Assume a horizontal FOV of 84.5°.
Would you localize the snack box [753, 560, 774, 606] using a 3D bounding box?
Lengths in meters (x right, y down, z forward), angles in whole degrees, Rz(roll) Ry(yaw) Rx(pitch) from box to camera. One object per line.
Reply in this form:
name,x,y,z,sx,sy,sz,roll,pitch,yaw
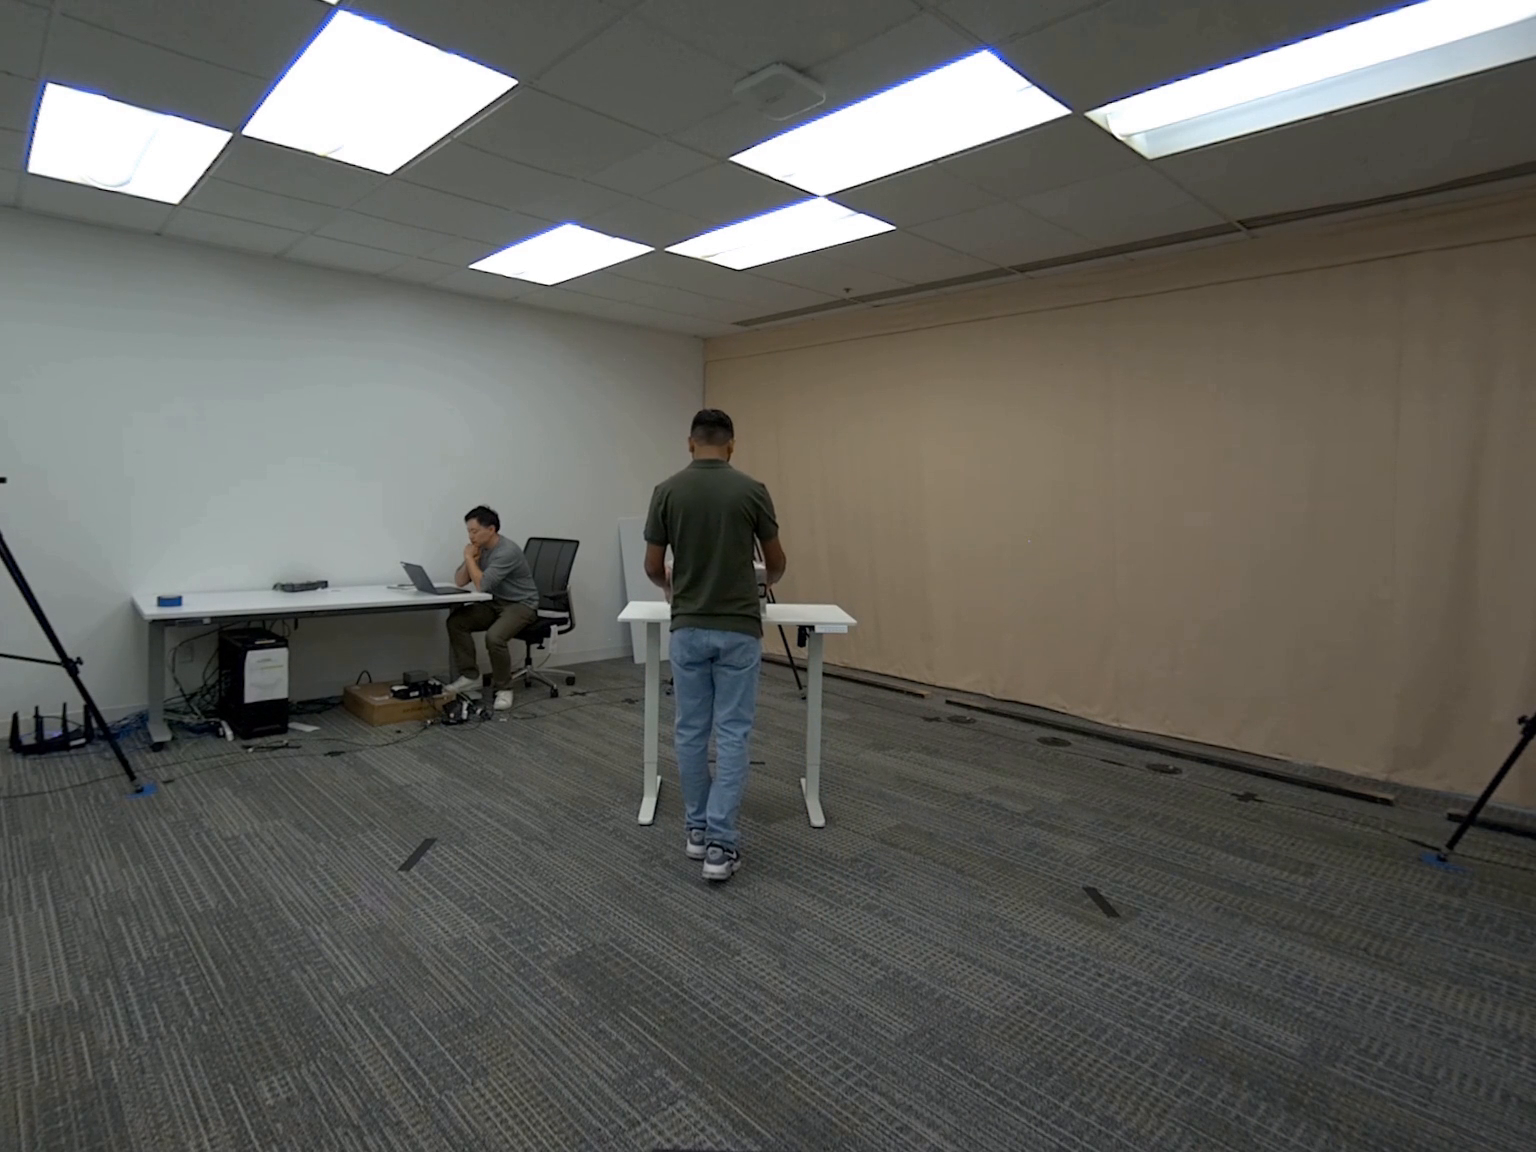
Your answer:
snack box,-0.230,0.048,3.678,0.402,0.205,0.344,0,5,-9
